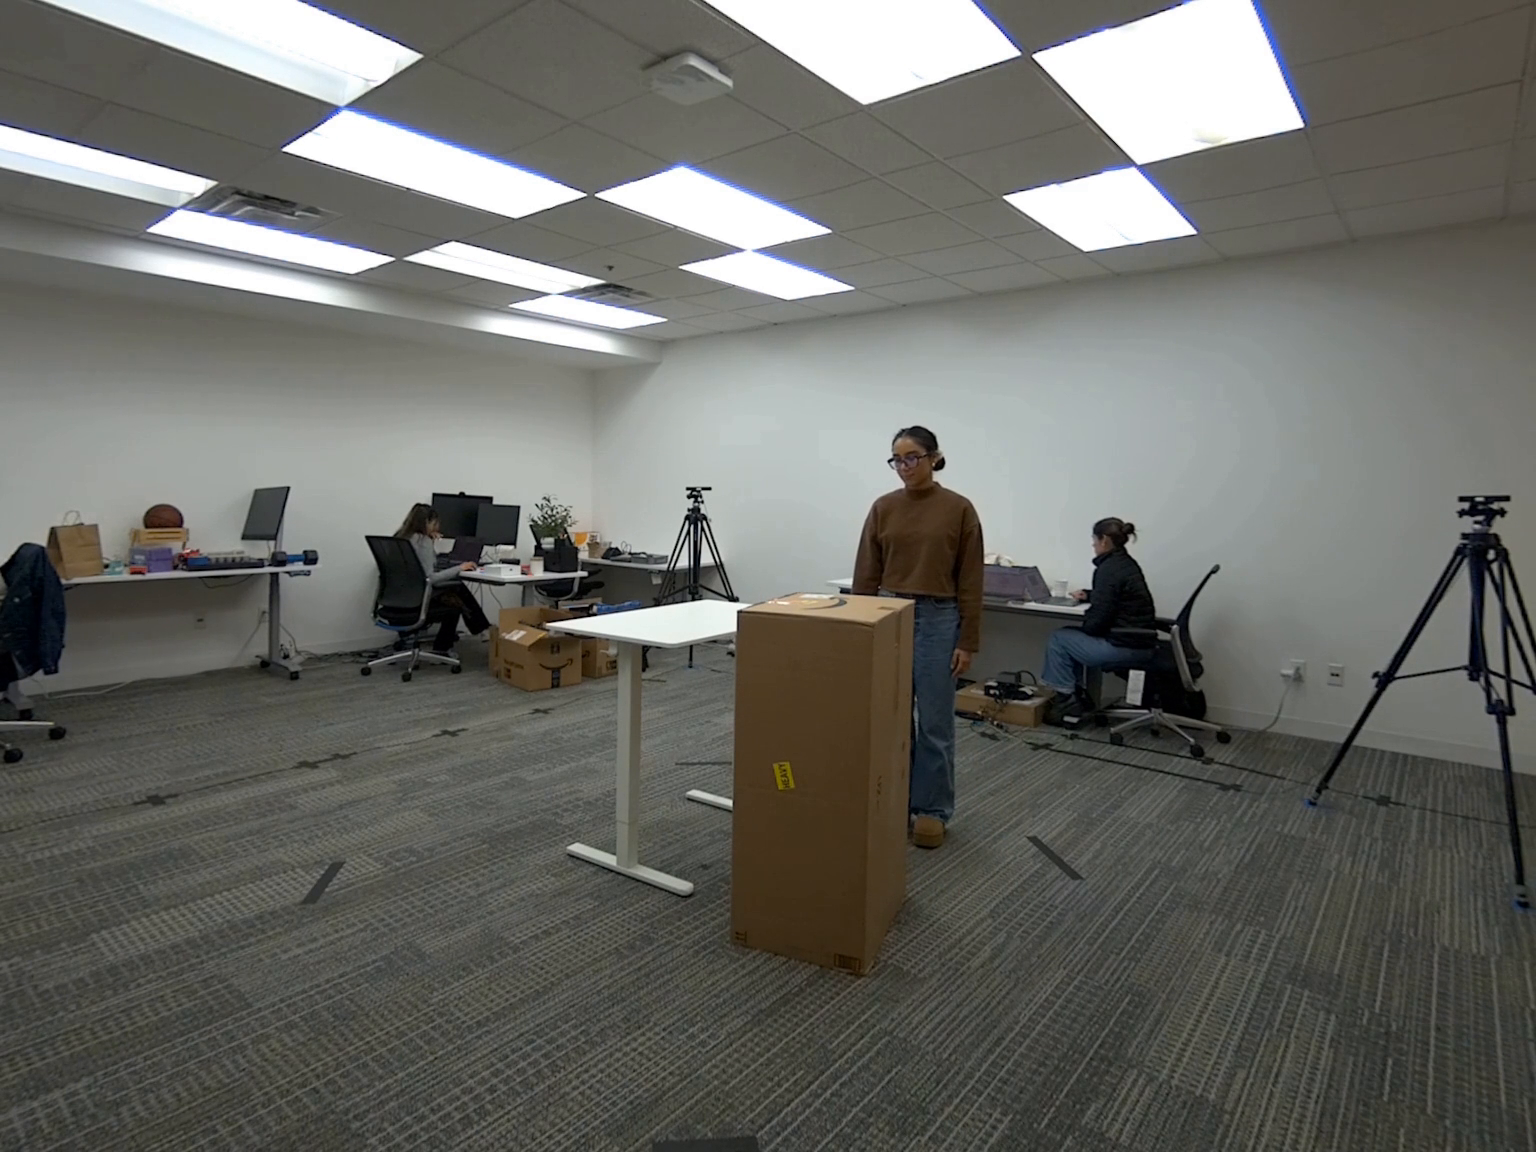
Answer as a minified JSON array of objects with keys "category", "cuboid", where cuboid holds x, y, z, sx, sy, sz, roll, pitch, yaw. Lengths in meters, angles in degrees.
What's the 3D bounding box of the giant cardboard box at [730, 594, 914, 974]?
[{"category":"giant cardboard box","cuboid":[0.183,0.598,2.744,0.437,1.023,0.565,3,4,22]}]
